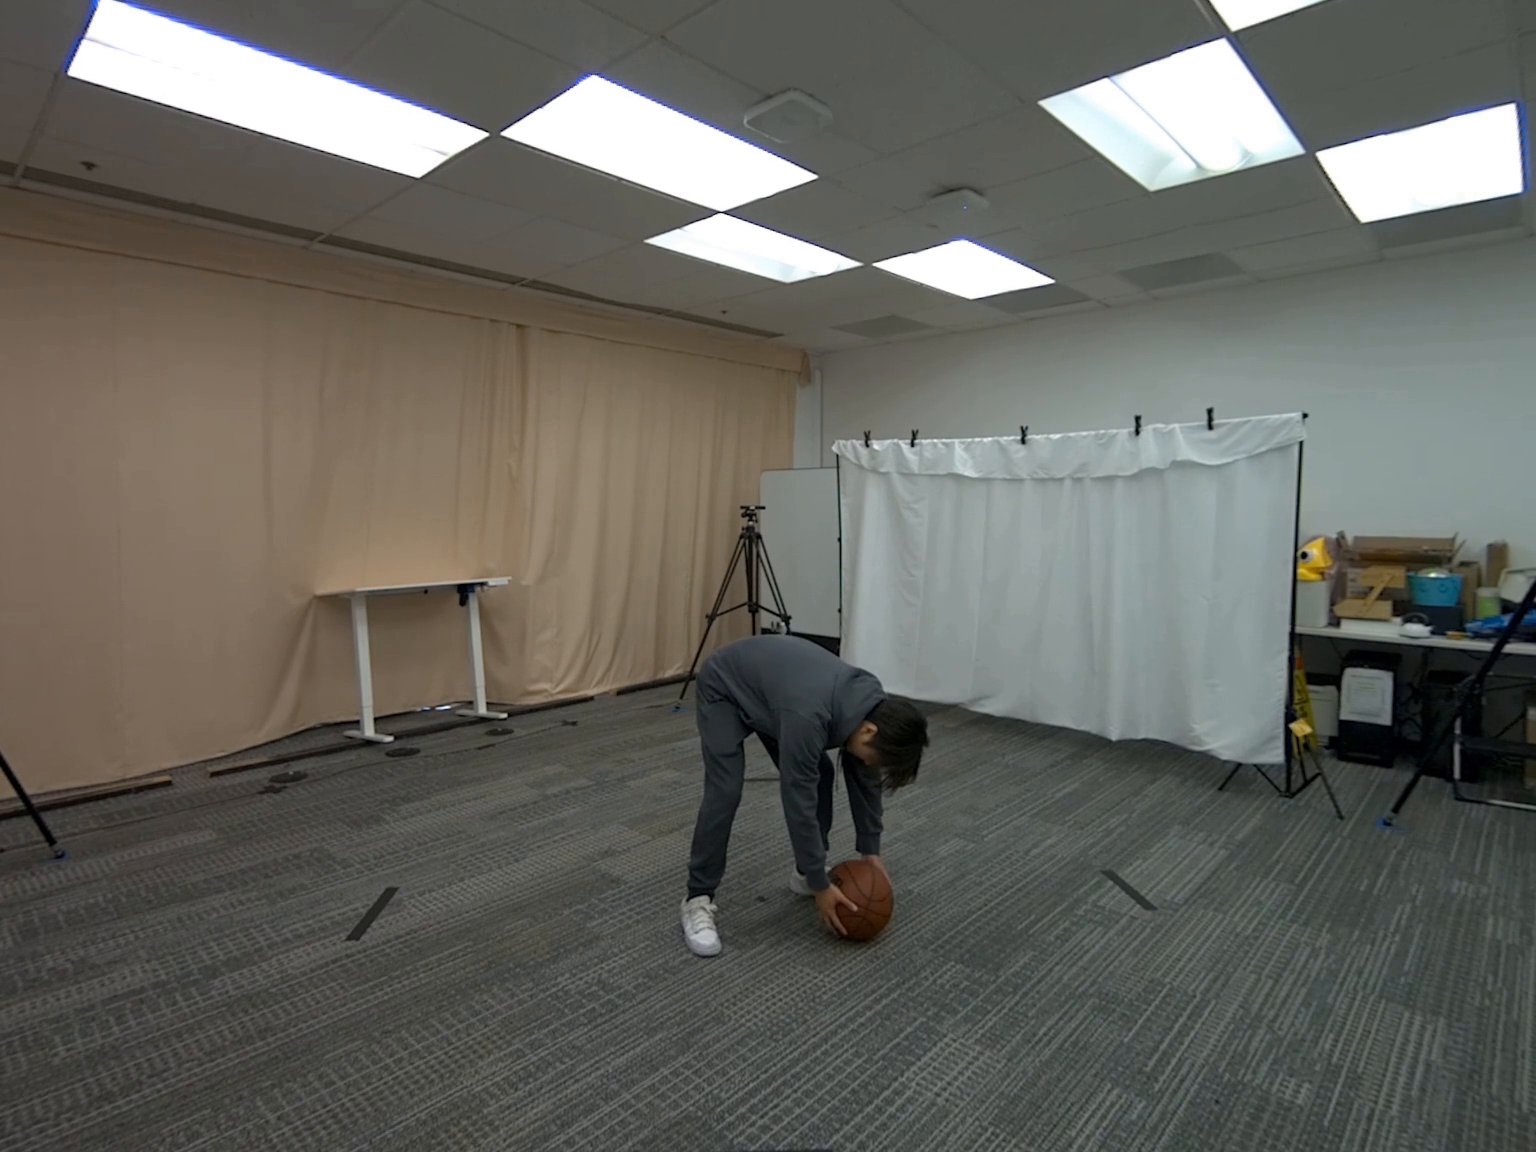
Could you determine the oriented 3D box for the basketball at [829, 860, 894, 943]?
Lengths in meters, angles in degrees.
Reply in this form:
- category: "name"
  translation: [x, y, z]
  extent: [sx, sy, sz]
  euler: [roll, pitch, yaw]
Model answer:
- category: "basketball"
  translation: [0.284, 1.040, 2.720]
  extent: [0.236, 0.235, 0.237]
  euler: [0, 4, -2]
